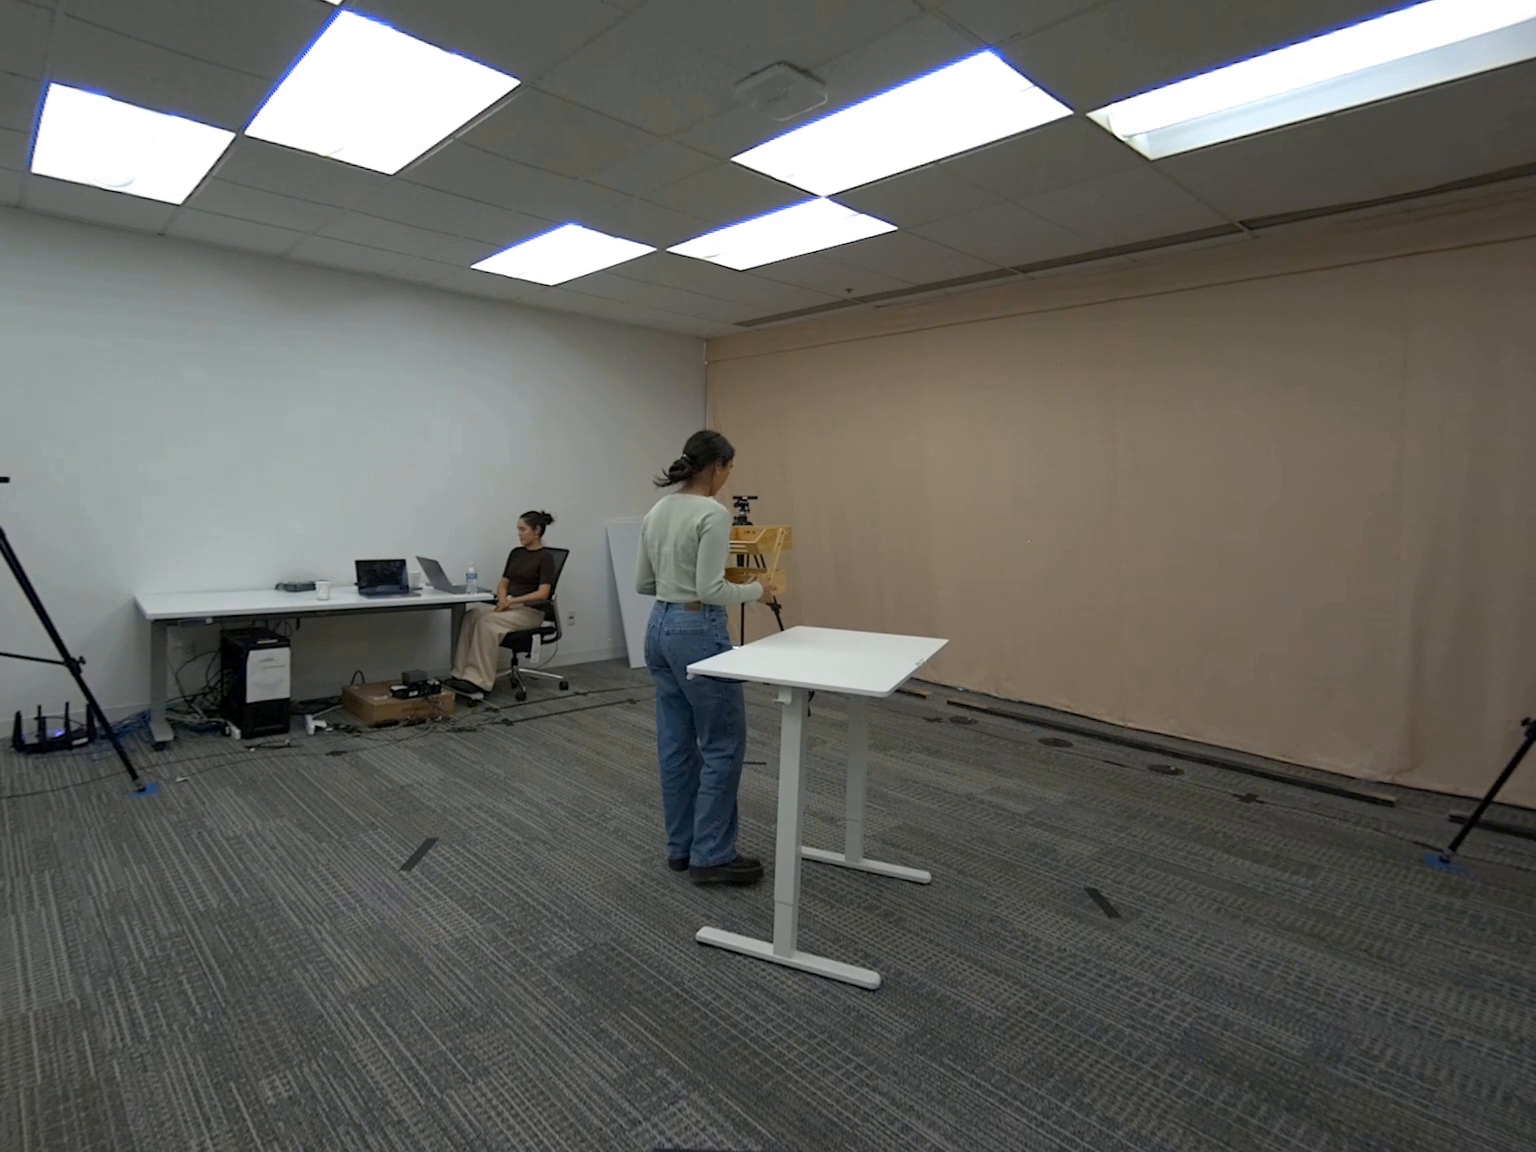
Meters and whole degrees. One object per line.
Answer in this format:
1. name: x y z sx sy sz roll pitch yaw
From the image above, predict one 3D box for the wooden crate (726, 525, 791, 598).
1. wooden crate: -0.120 -0.060 3.343 0.332 0.272 0.296 2 8 44
